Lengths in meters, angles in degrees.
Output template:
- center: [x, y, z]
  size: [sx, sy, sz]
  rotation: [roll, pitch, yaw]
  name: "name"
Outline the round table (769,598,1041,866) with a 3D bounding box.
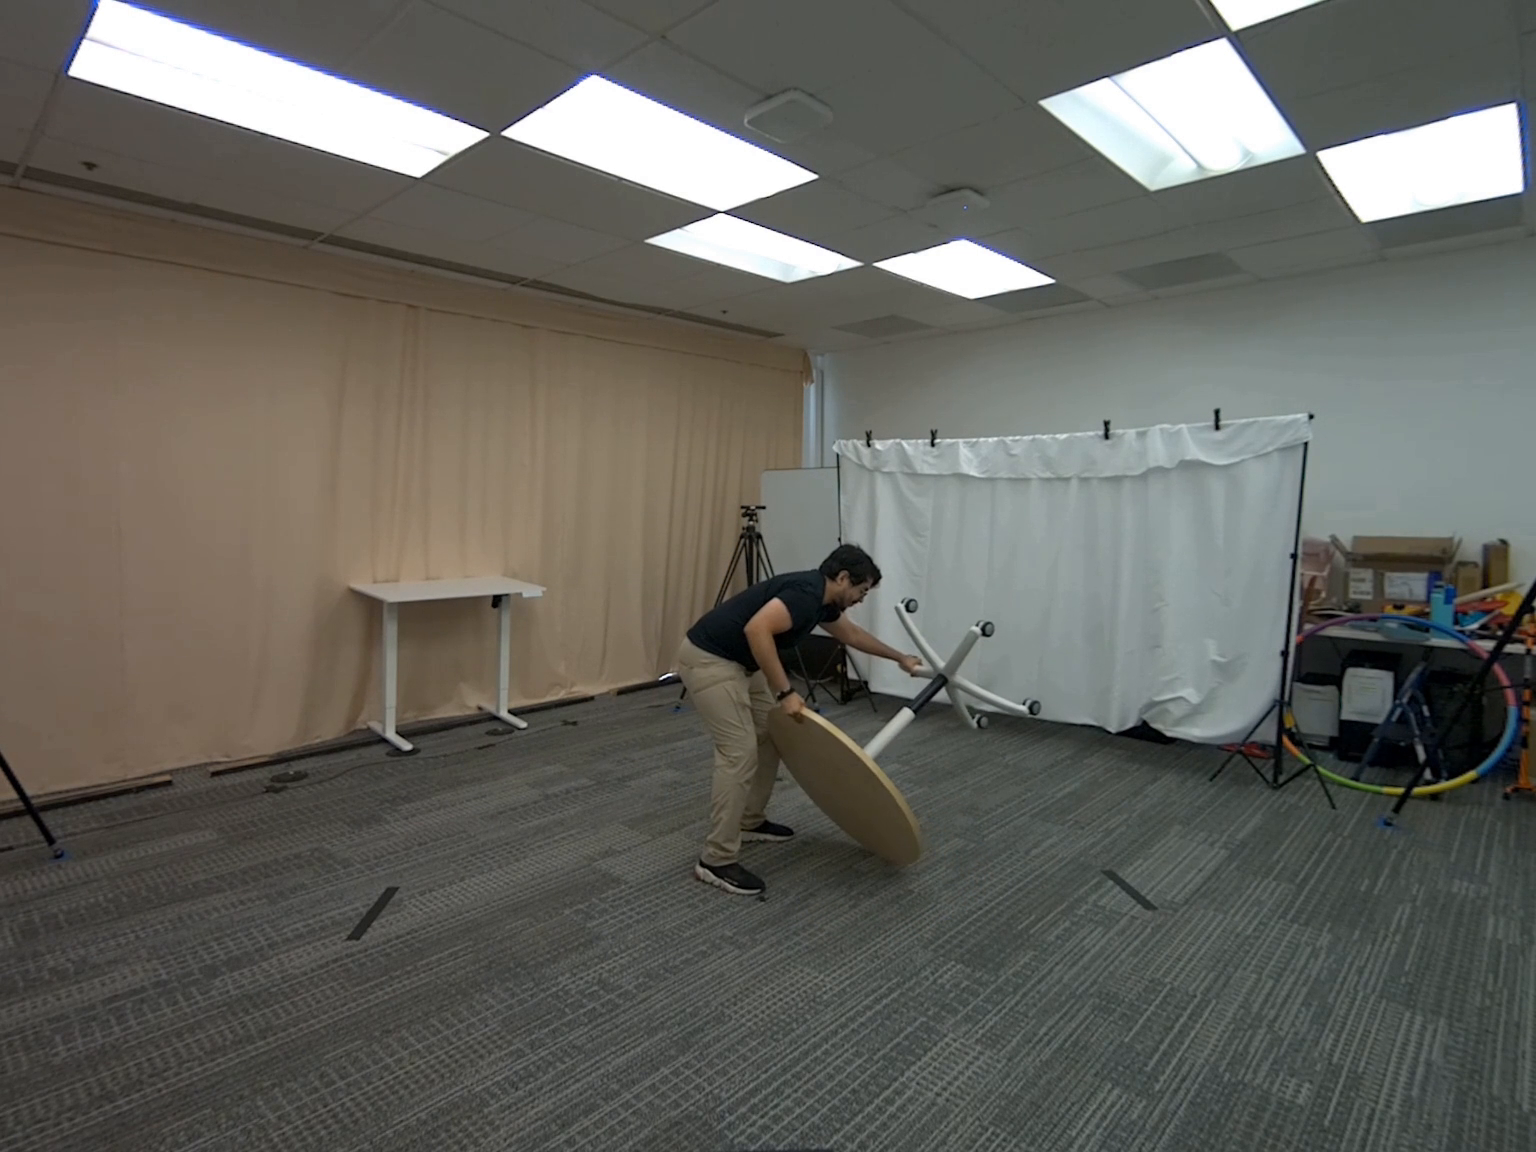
- center: [0.558, 0.577, 3.379]
  size: [0.778, 0.770, 0.808]
  rotation: [-38, 21, -23]
  name: "round table"
